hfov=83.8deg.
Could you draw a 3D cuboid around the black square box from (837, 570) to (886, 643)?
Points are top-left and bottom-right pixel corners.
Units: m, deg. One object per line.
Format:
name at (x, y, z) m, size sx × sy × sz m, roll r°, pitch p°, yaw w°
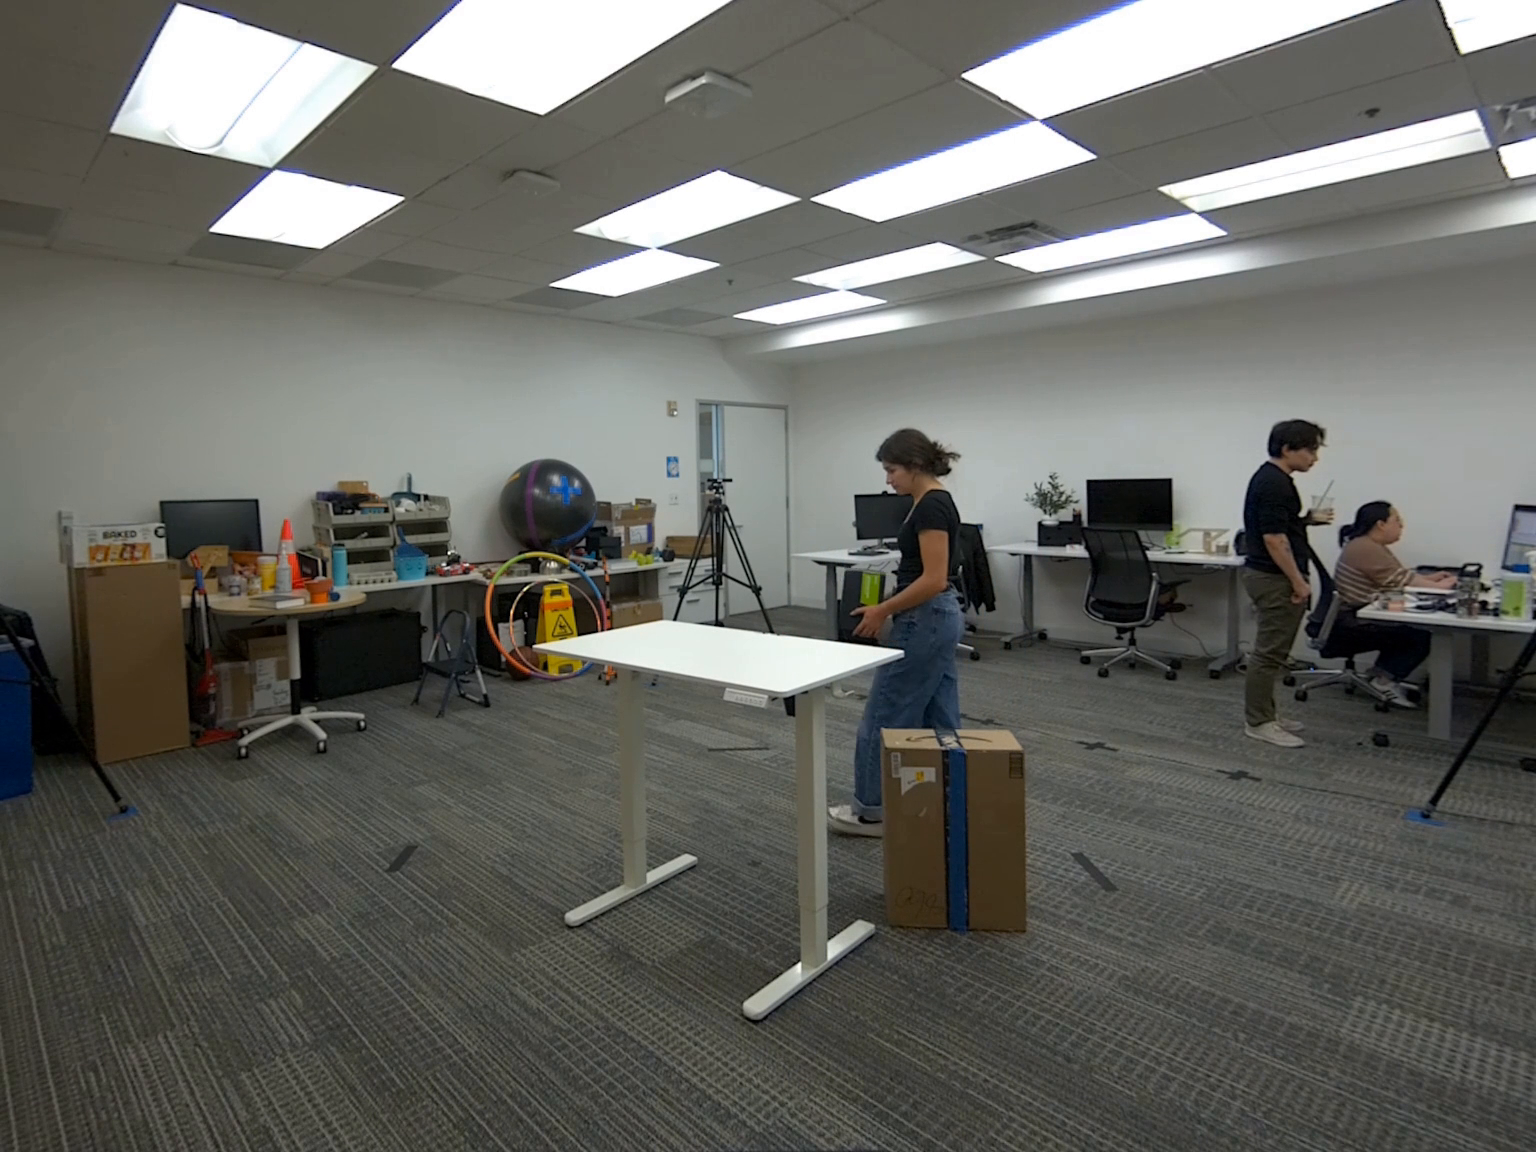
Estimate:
black square box at (0.371, 0.088, 3.315) m, size 0.158 × 0.227 × 0.215 m, roll 5°, pitch 5°, yaw 10°
